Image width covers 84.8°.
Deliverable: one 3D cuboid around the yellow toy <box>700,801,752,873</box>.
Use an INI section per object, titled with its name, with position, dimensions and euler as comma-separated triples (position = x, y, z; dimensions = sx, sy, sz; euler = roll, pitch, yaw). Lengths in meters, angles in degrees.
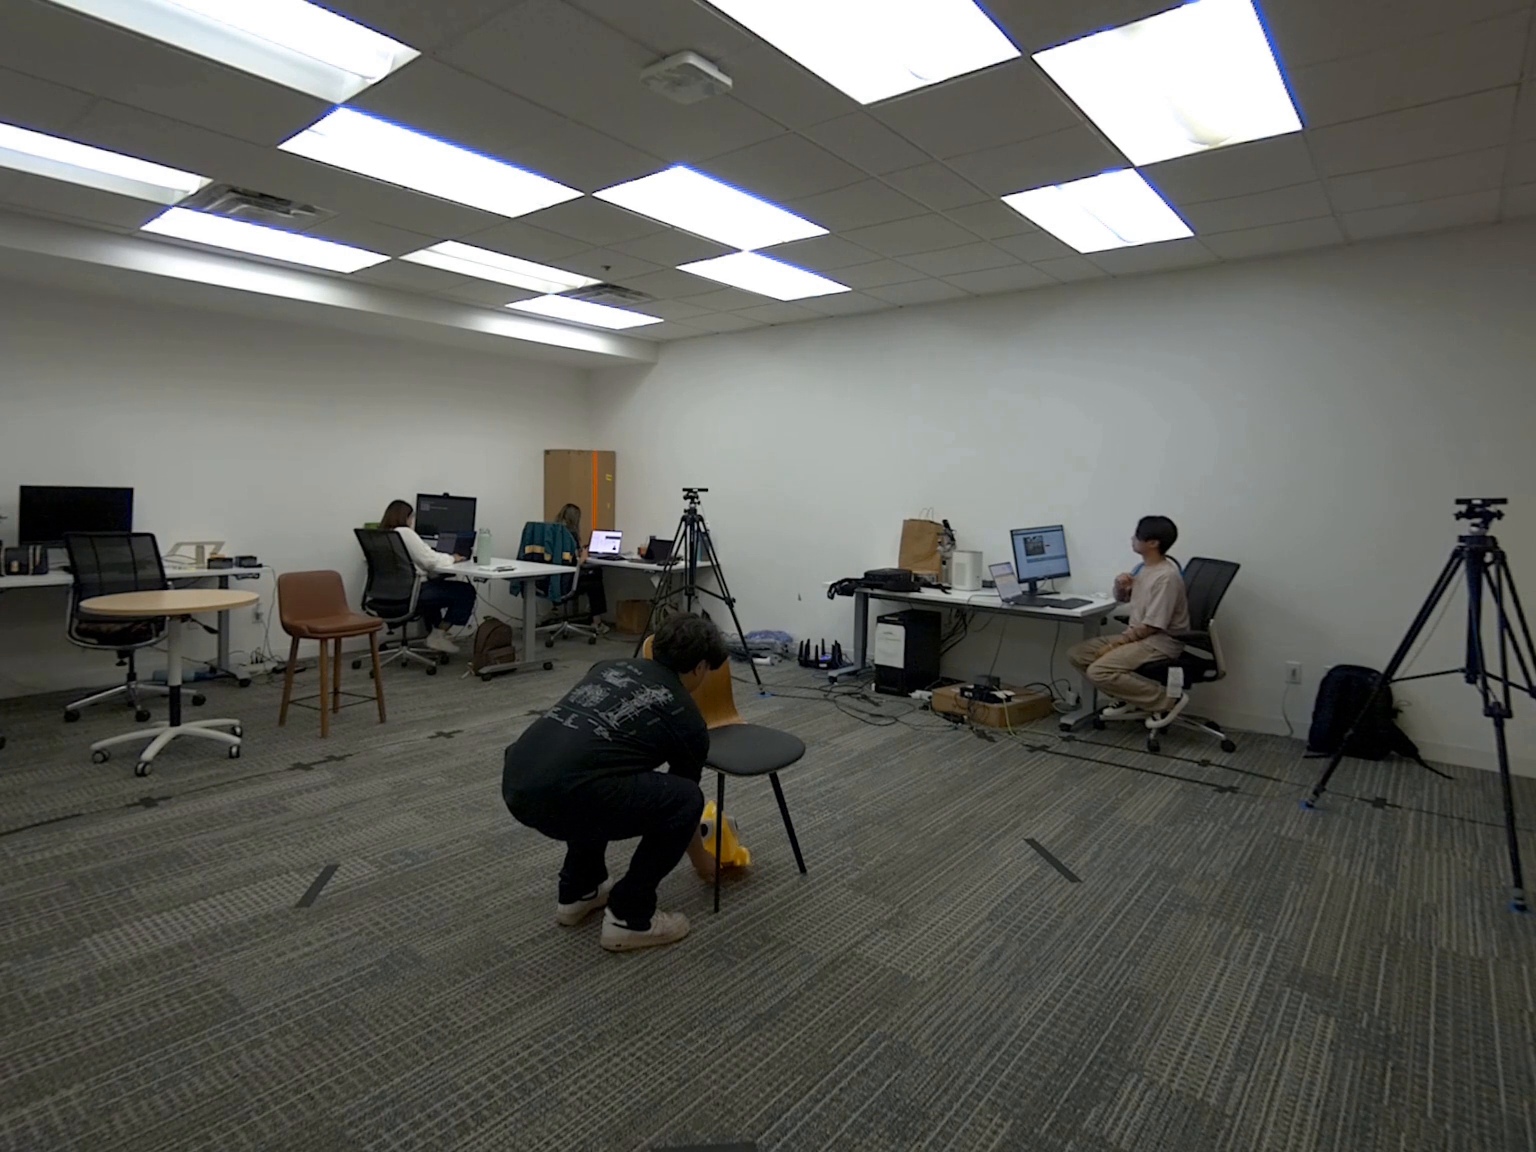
[yellow toy]
position = -0.186, 0.940, 3.119
dimensions = 0.200, 0.234, 0.194
euler = 0, -16, -22
